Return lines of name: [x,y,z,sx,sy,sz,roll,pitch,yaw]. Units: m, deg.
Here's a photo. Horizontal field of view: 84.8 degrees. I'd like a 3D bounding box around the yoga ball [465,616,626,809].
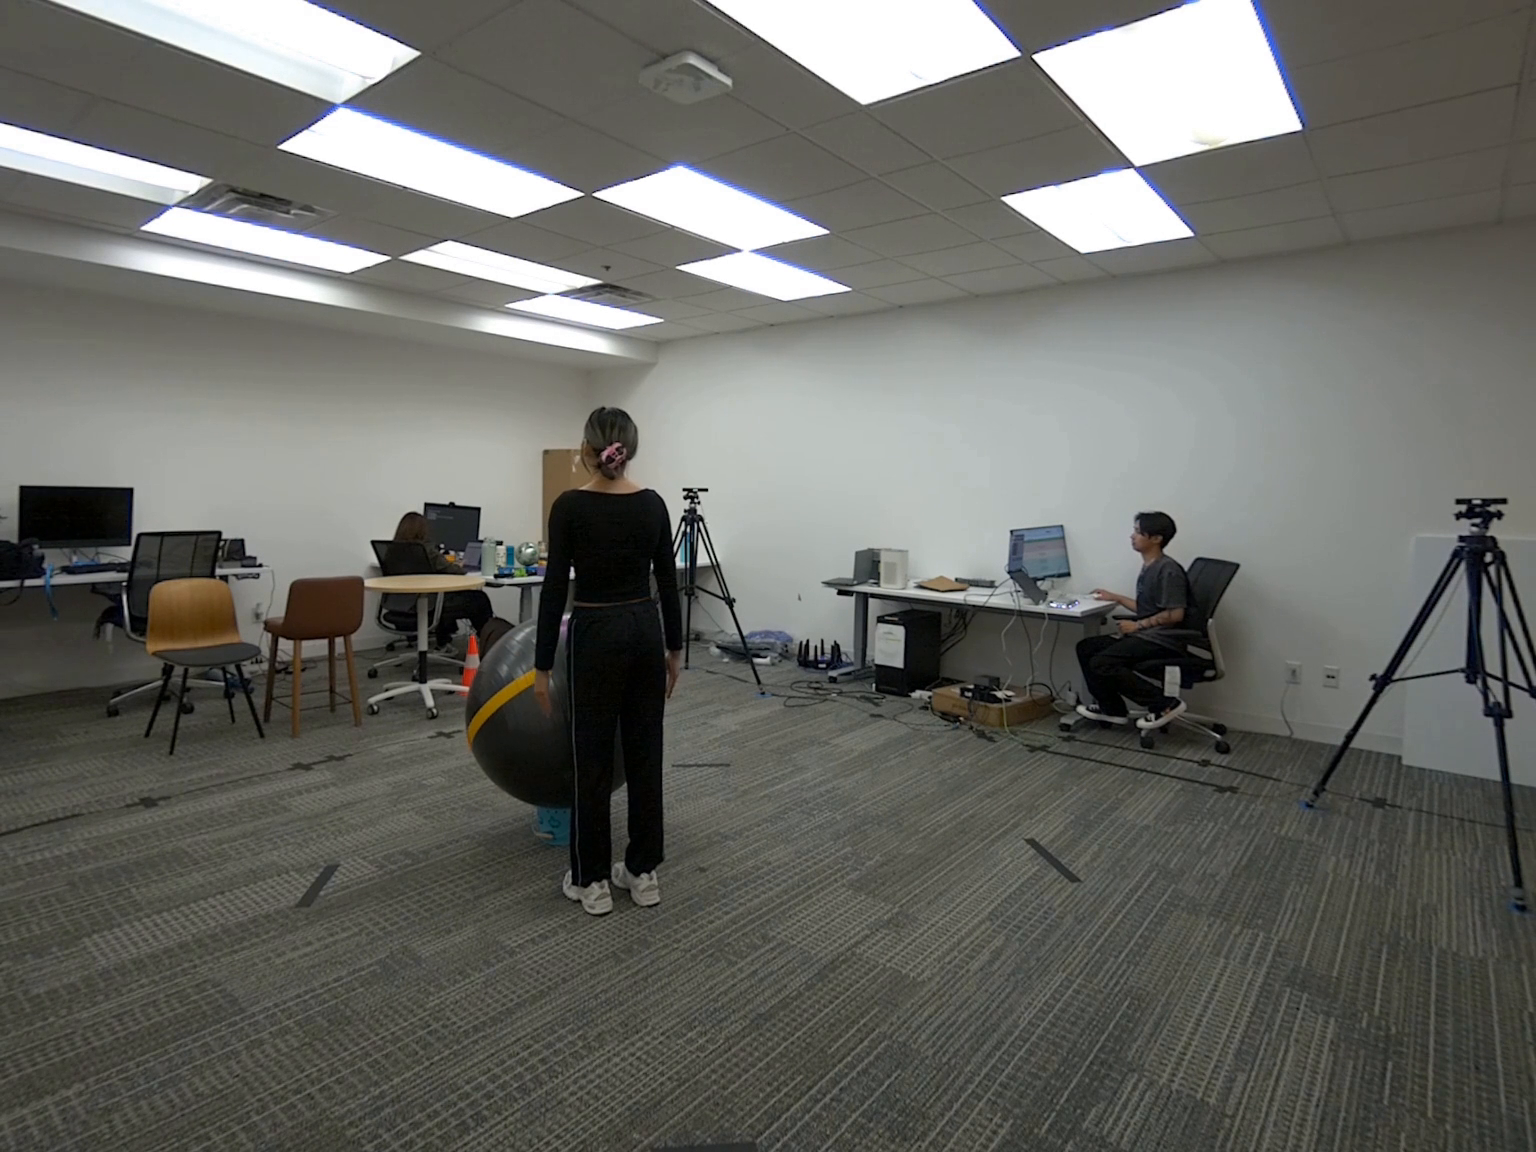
yoga ball: [-0.821,0.523,3.370,0.757,0.755,0.762,1,4,-2]
